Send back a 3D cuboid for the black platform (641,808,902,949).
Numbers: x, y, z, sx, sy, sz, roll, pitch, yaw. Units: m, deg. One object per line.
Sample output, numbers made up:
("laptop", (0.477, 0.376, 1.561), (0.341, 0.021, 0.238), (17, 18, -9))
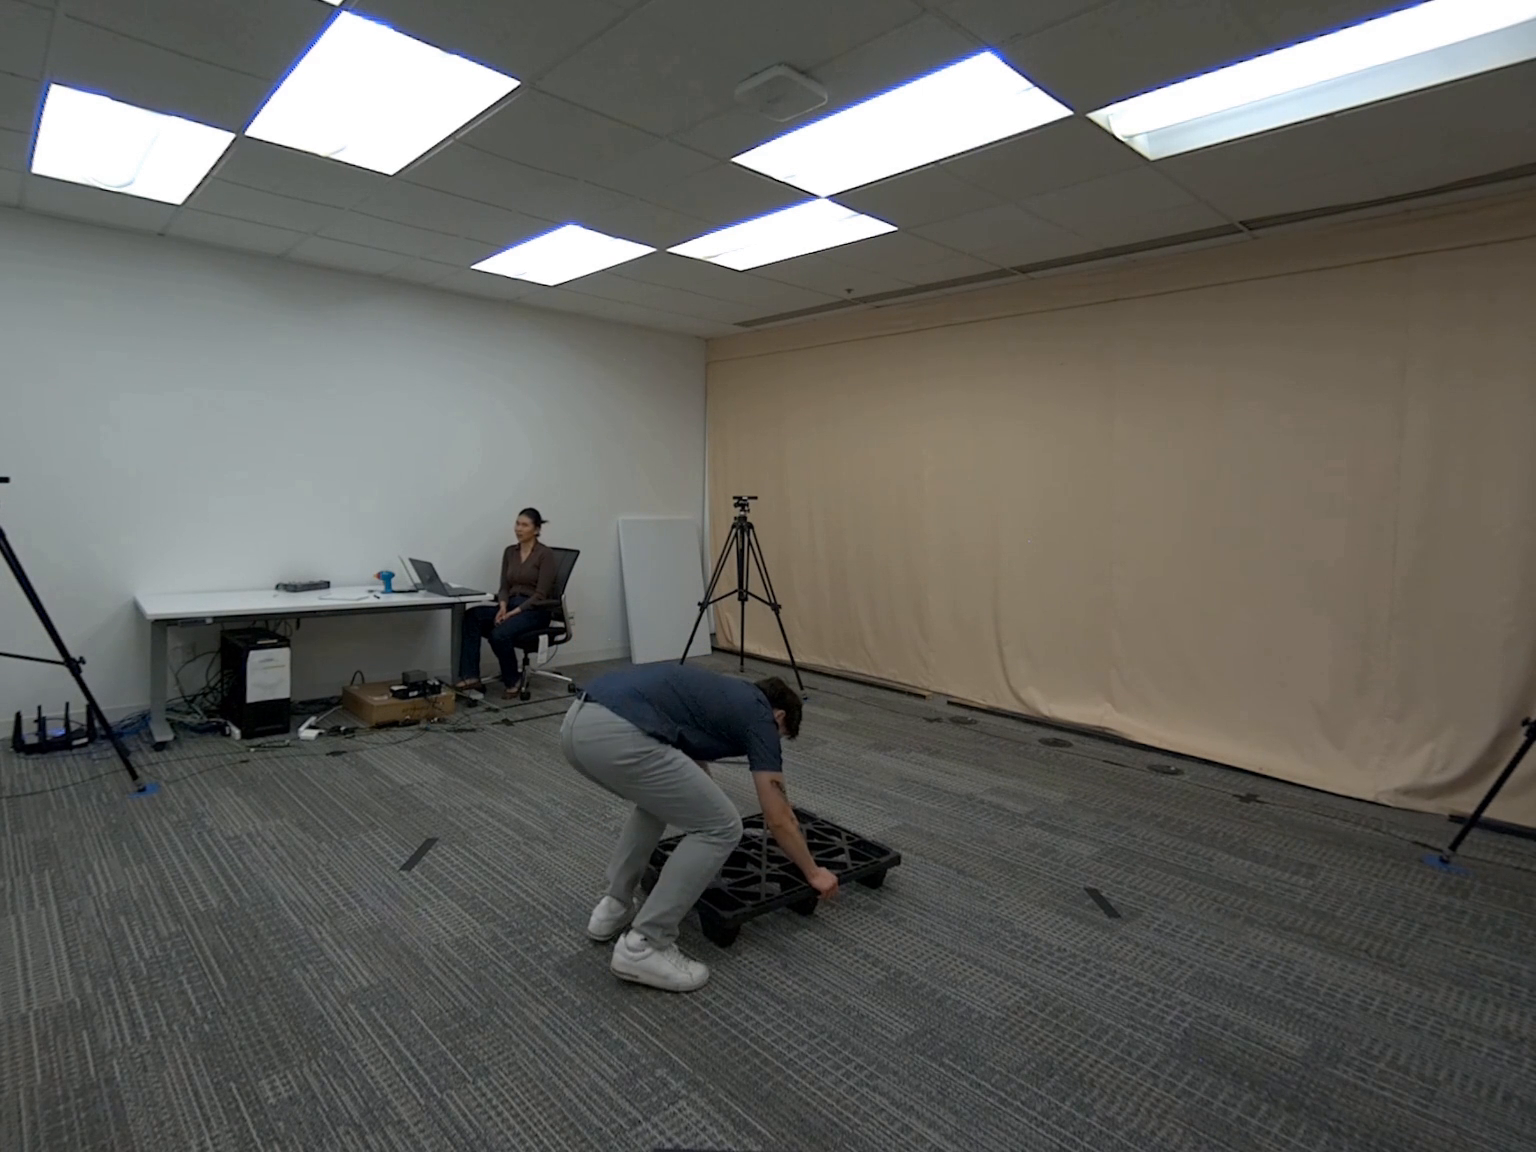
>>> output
("black platform", (-0.015, 1.049, 2.997), (0.788, 0.143, 0.621), (-4, 8, -39))
